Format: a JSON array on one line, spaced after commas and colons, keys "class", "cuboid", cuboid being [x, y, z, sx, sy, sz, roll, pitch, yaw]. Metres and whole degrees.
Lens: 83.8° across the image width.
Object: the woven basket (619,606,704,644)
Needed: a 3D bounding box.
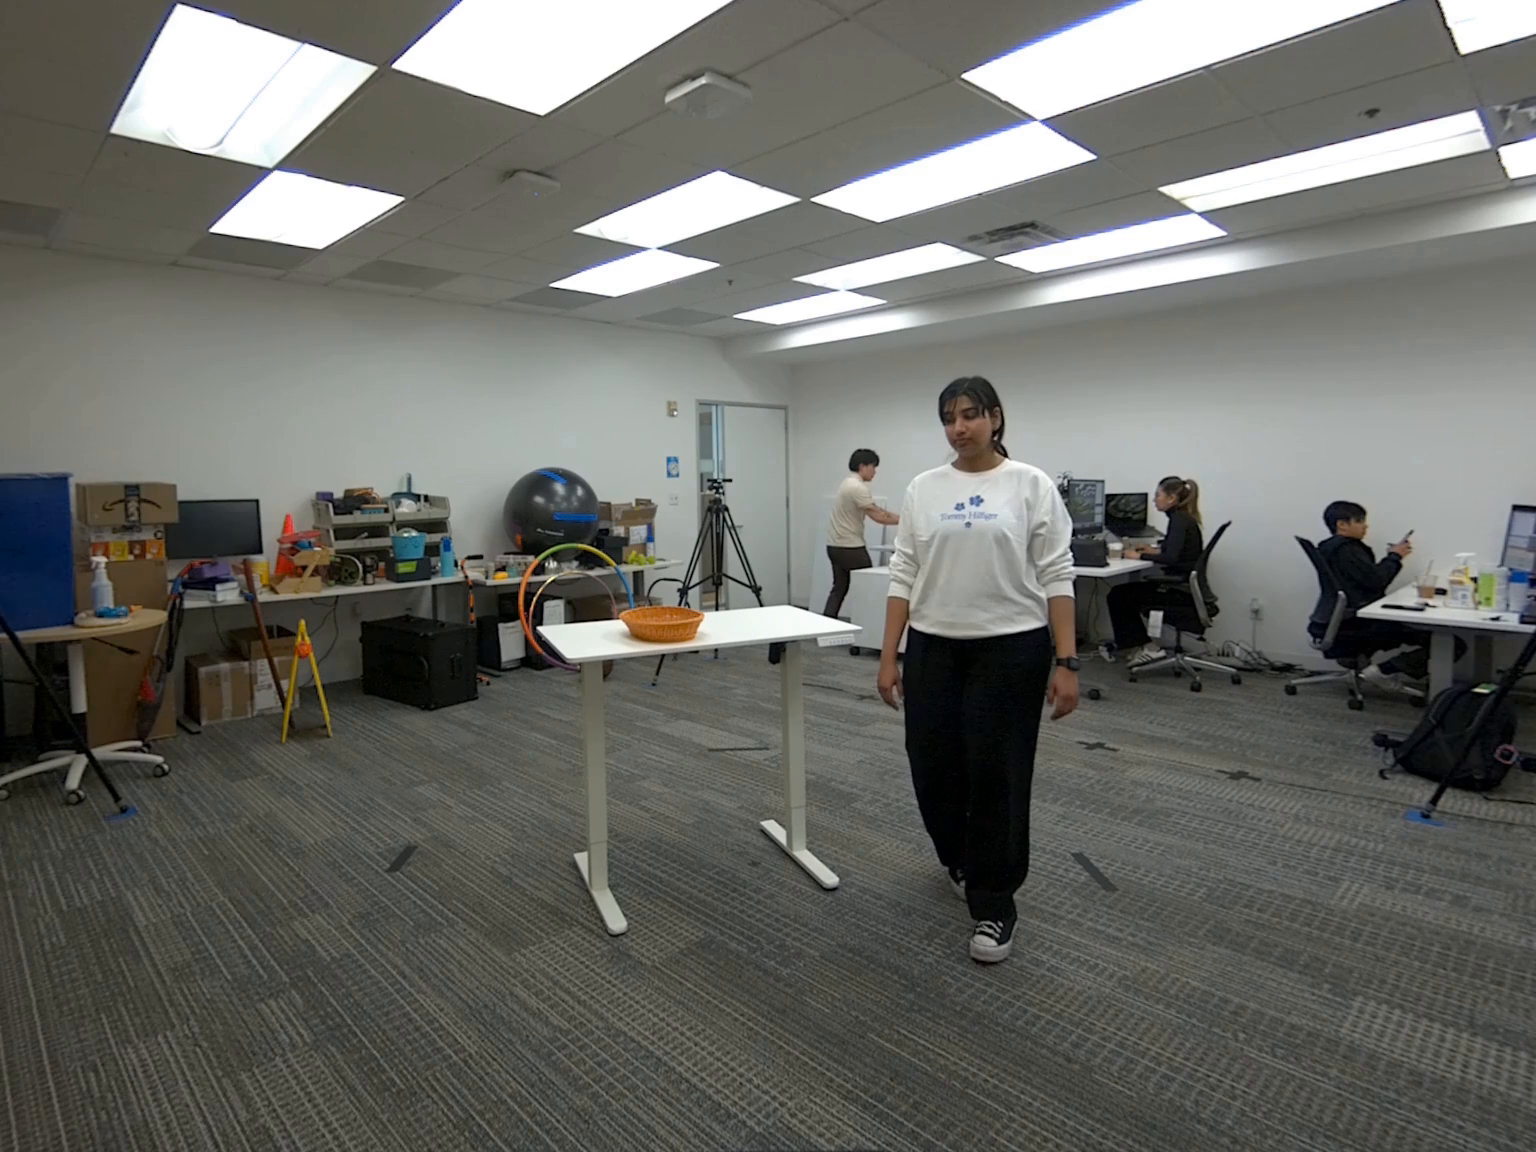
[{"class": "woven basket", "cuboid": [-0.351, 0.164, 2.848, 0.247, 0.073, 0.360, -6, 7, -30]}]
